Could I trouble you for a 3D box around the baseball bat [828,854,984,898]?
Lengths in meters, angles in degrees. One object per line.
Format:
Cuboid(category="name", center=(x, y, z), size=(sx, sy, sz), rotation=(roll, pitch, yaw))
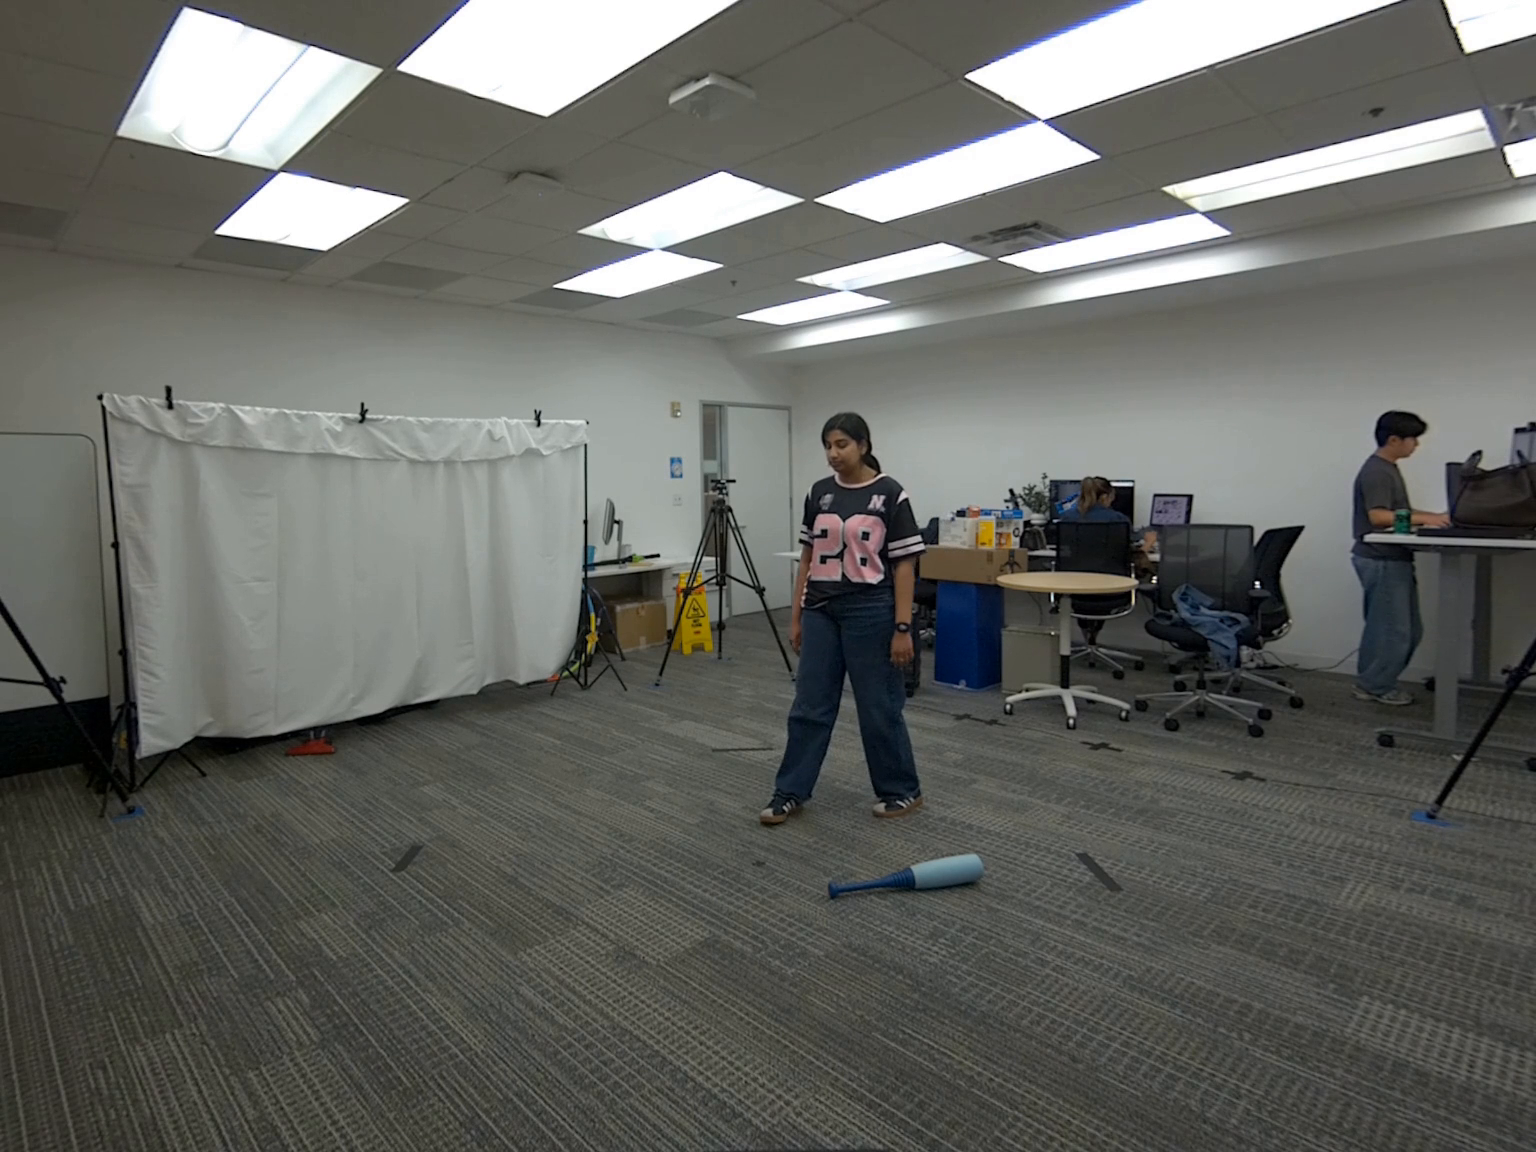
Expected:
Cuboid(category="baseball bat", center=(0.471, 1.028, 2.890), size=(0.538, 0.088, 0.090), rotation=(-6, 6, -11))
